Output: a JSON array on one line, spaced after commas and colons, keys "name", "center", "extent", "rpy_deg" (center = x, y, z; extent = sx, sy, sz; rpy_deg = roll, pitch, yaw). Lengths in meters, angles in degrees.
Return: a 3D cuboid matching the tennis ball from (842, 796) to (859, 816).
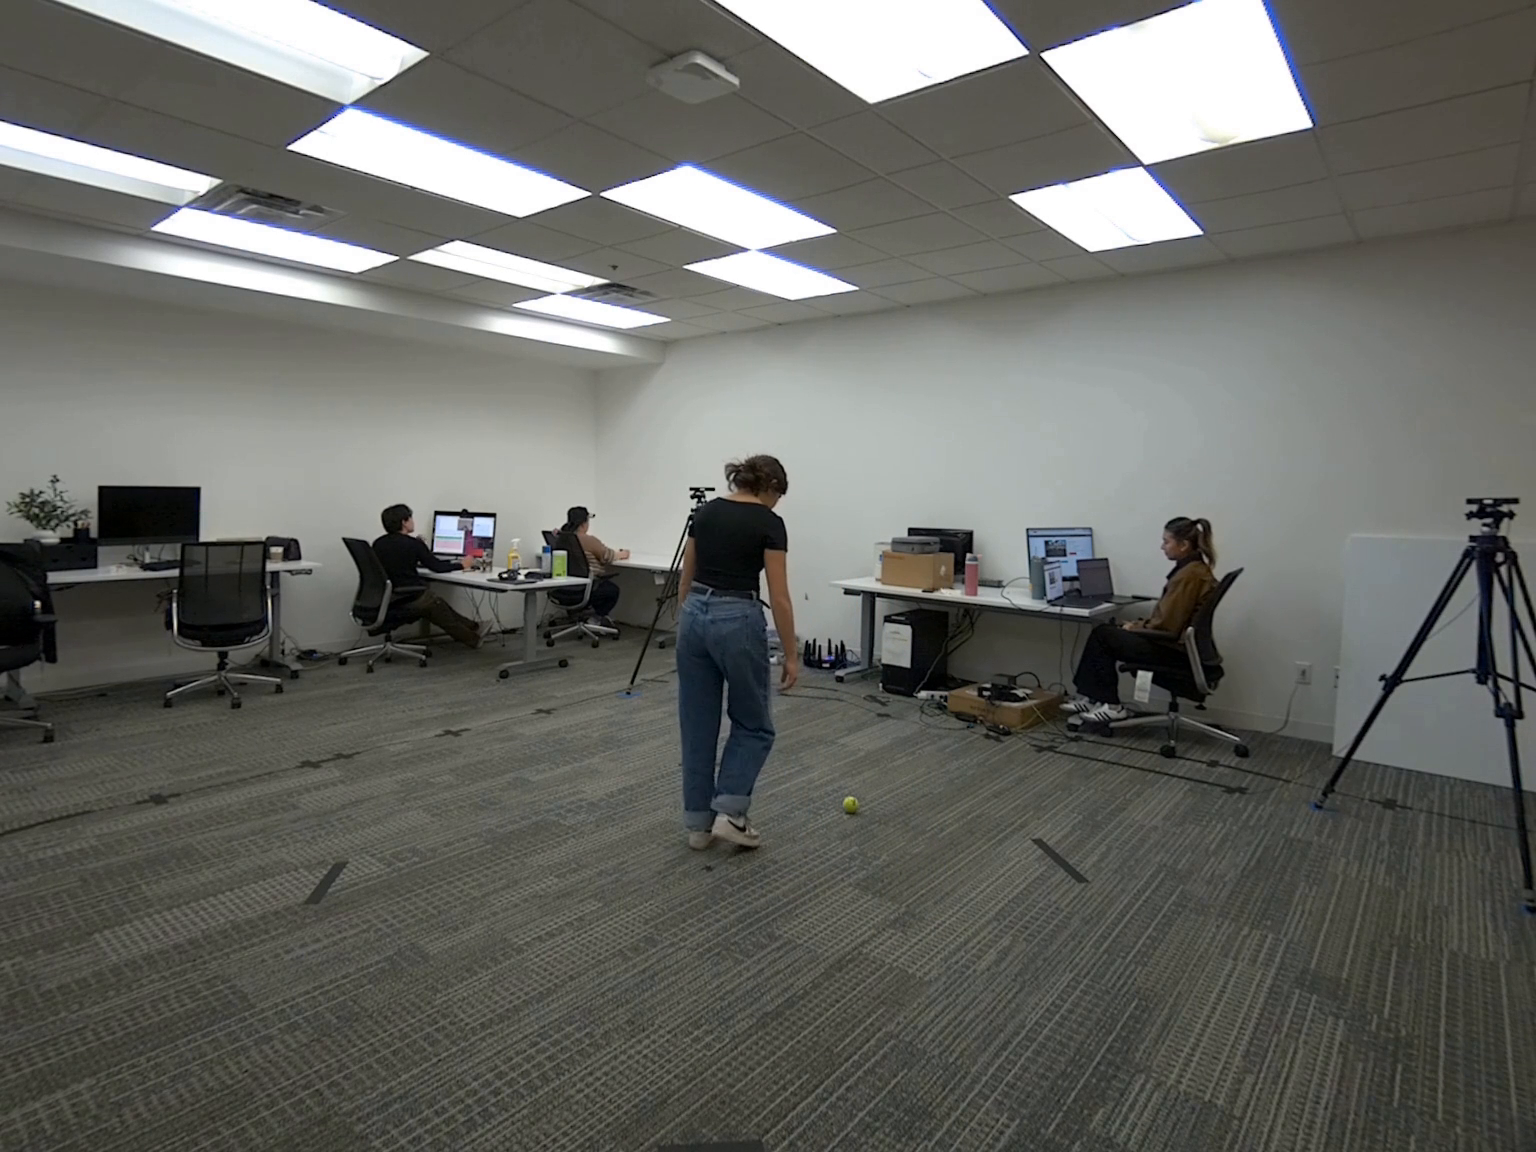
[{"name": "tennis ball", "center": [0.346, 0.980, 3.691], "extent": [0.066, 0.066, 0.067], "rpy_deg": [1, 4, -2]}]
